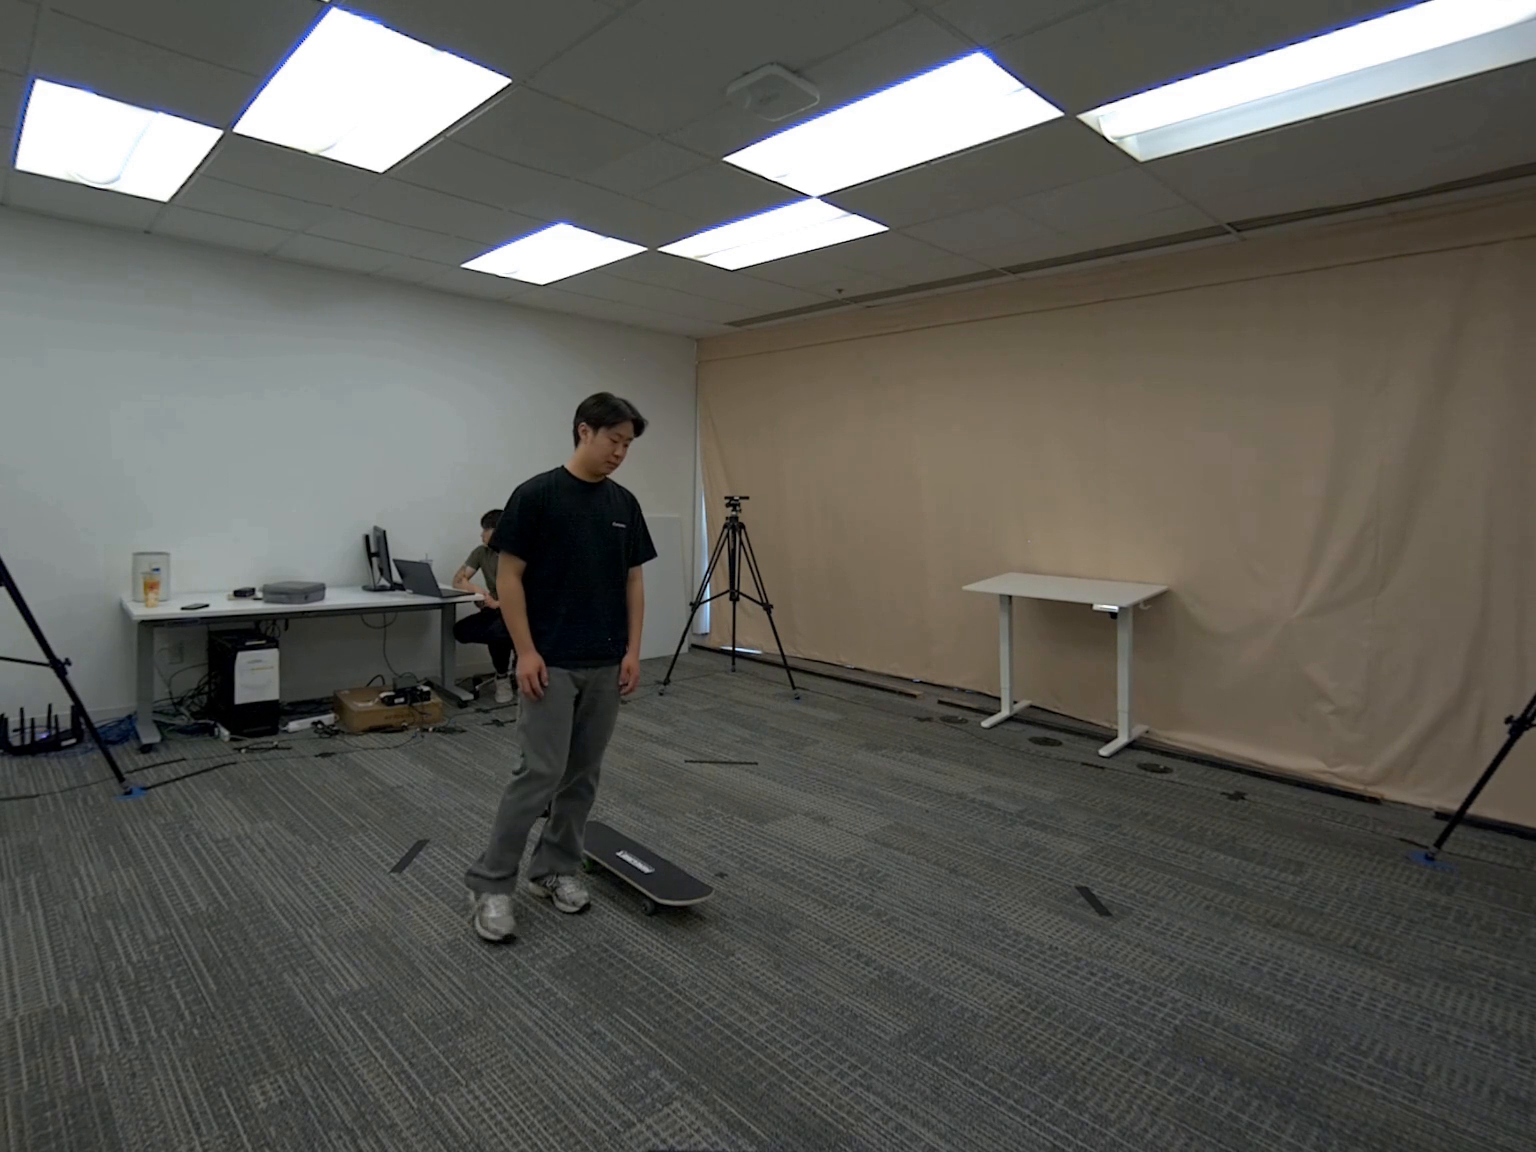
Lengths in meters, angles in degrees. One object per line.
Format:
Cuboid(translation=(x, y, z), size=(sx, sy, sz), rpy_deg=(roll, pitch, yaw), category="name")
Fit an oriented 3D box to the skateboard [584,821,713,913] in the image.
Cuboid(translation=(-0.484, 1.054, 2.999), size=(0.189, 0.110, 0.806), rpy_deg=(-1, 6, -41), category="skateboard")
